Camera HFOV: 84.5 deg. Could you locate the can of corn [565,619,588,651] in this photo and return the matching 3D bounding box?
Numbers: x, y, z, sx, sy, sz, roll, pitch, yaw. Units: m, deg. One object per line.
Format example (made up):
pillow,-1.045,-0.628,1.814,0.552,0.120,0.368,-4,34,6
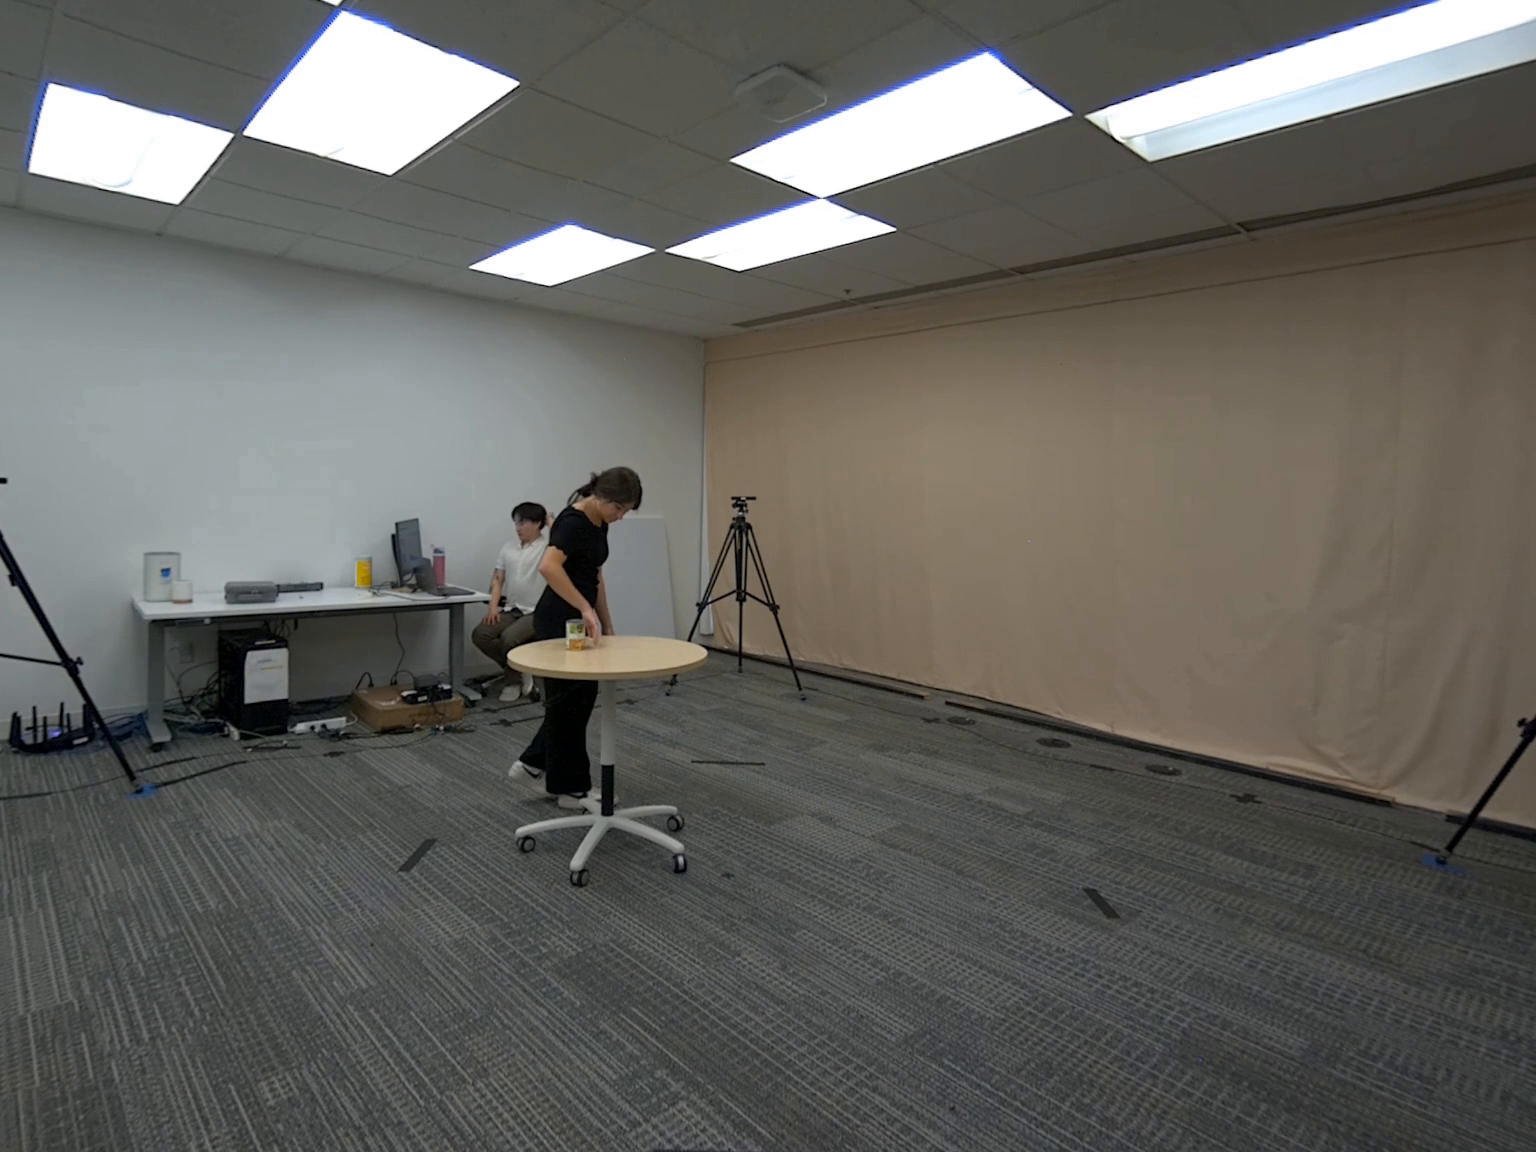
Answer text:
can of corn,-0.766,0.232,3.319,0.074,0.111,0.074,0,4,-1
